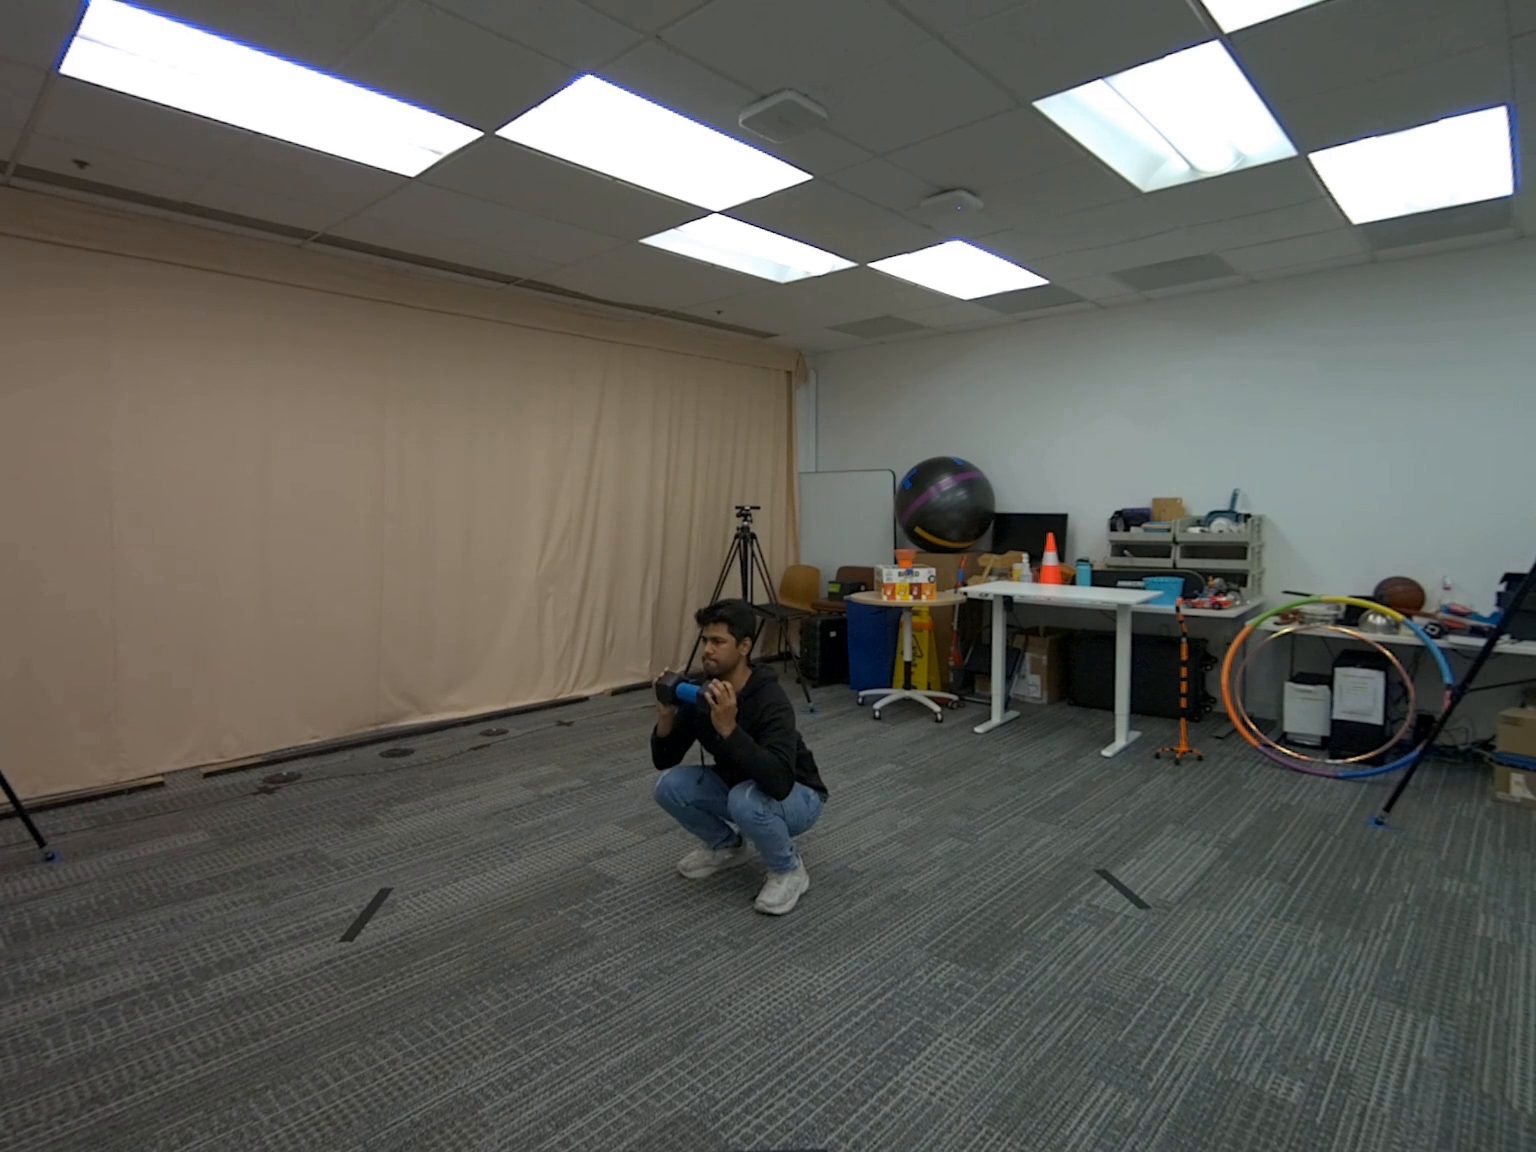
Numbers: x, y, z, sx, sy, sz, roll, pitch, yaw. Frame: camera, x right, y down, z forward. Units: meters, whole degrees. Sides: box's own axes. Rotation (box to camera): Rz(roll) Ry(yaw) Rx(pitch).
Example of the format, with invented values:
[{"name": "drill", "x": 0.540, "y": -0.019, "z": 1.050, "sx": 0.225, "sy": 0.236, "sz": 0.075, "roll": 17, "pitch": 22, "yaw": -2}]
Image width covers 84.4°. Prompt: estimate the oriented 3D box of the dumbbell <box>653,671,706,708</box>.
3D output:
[{"name": "dumbbell", "x": -0.251, "y": 0.387, "z": 2.881, "sx": 0.105, "sy": 0.122, "sz": 0.304, "roll": -8, "pitch": 11, "yaw": -44}]
